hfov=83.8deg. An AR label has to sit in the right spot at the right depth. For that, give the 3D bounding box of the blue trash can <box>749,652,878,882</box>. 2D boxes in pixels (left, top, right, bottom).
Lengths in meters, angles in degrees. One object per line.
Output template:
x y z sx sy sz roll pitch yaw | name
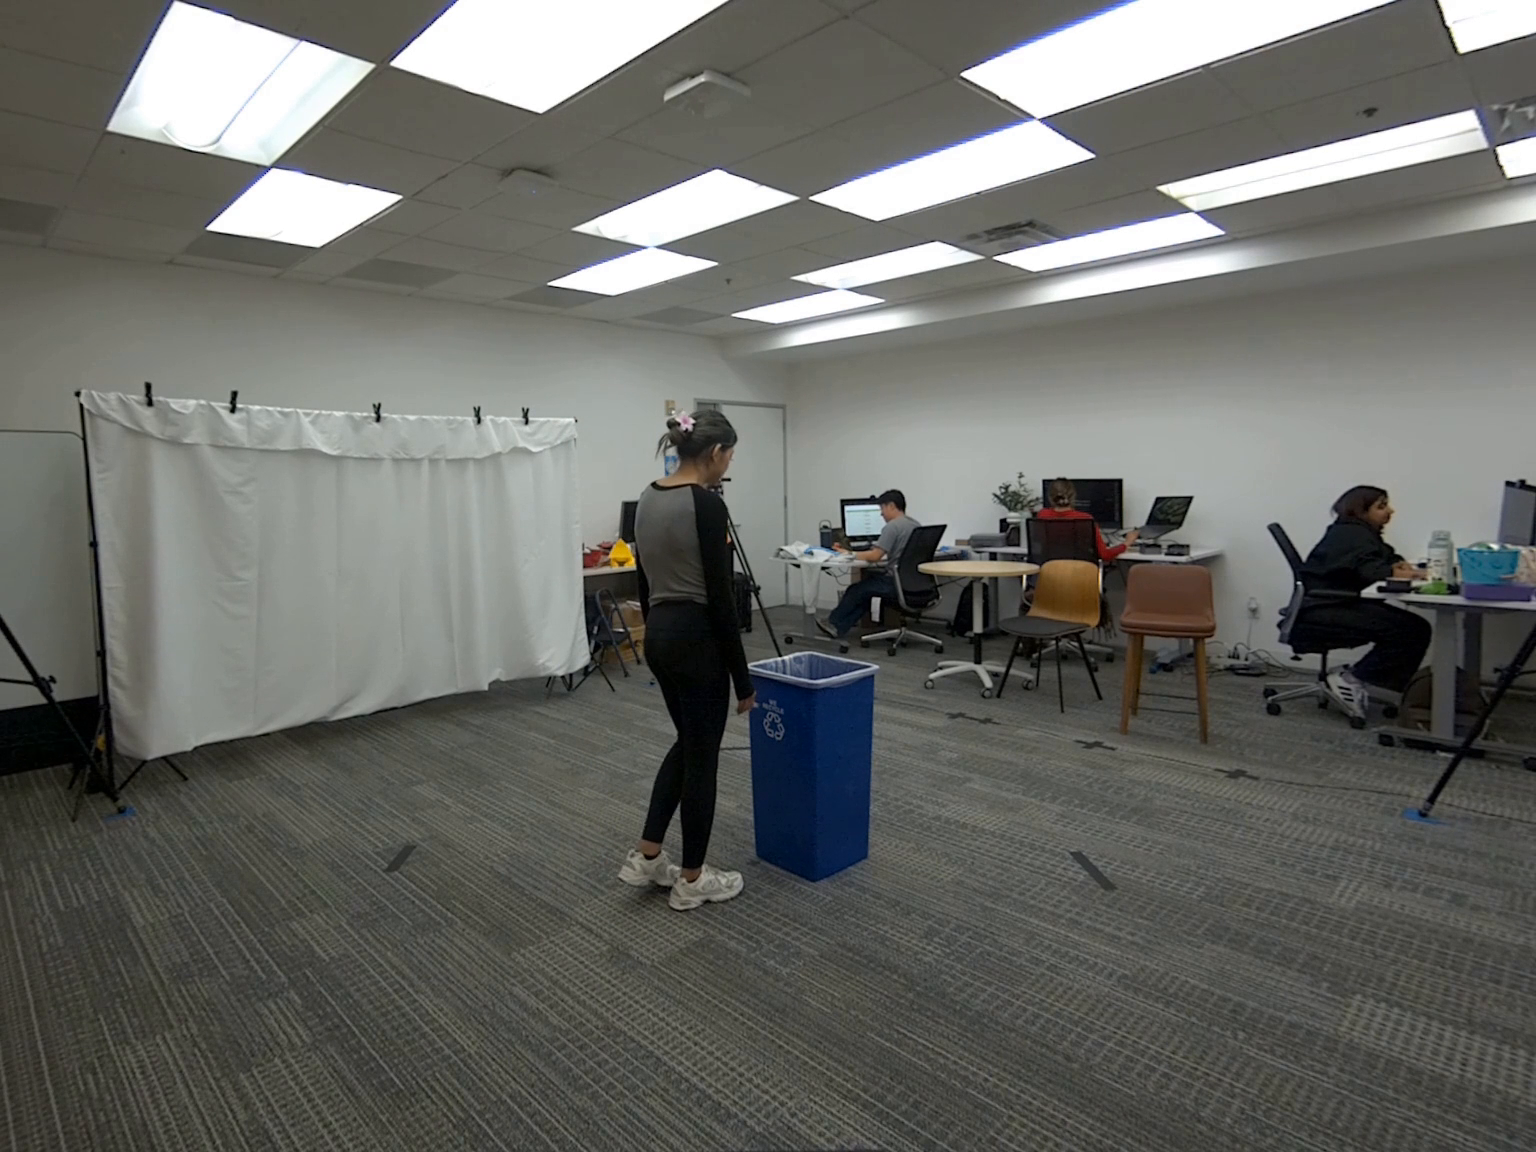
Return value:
0.168 0.678 3.126 0.368 0.711 0.385 -5 6 -44 | blue trash can
